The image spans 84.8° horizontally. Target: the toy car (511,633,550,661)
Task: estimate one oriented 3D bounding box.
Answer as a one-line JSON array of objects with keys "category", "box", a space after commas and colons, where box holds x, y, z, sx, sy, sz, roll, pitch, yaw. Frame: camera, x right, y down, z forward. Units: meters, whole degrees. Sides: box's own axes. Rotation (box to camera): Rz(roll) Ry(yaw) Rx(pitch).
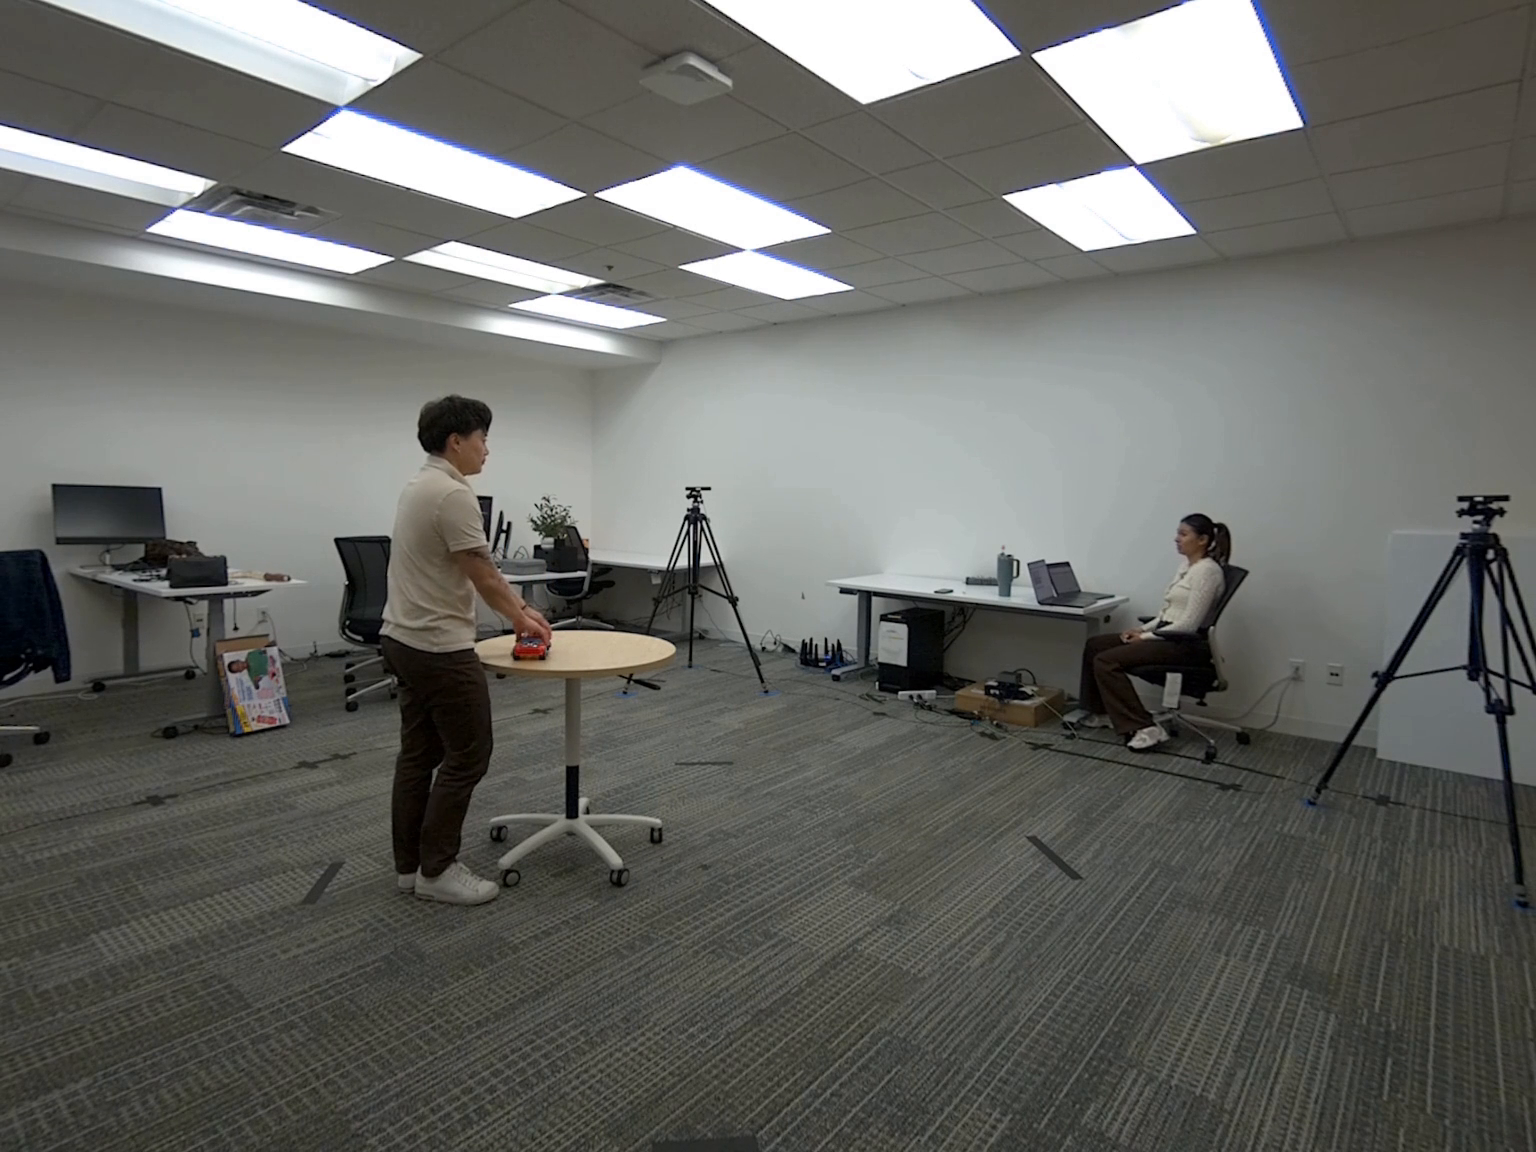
[{"category": "toy car", "box": [-0.860, 0.249, 3.048, 0.129, 0.082, 0.261, 0, 18, -10]}]
